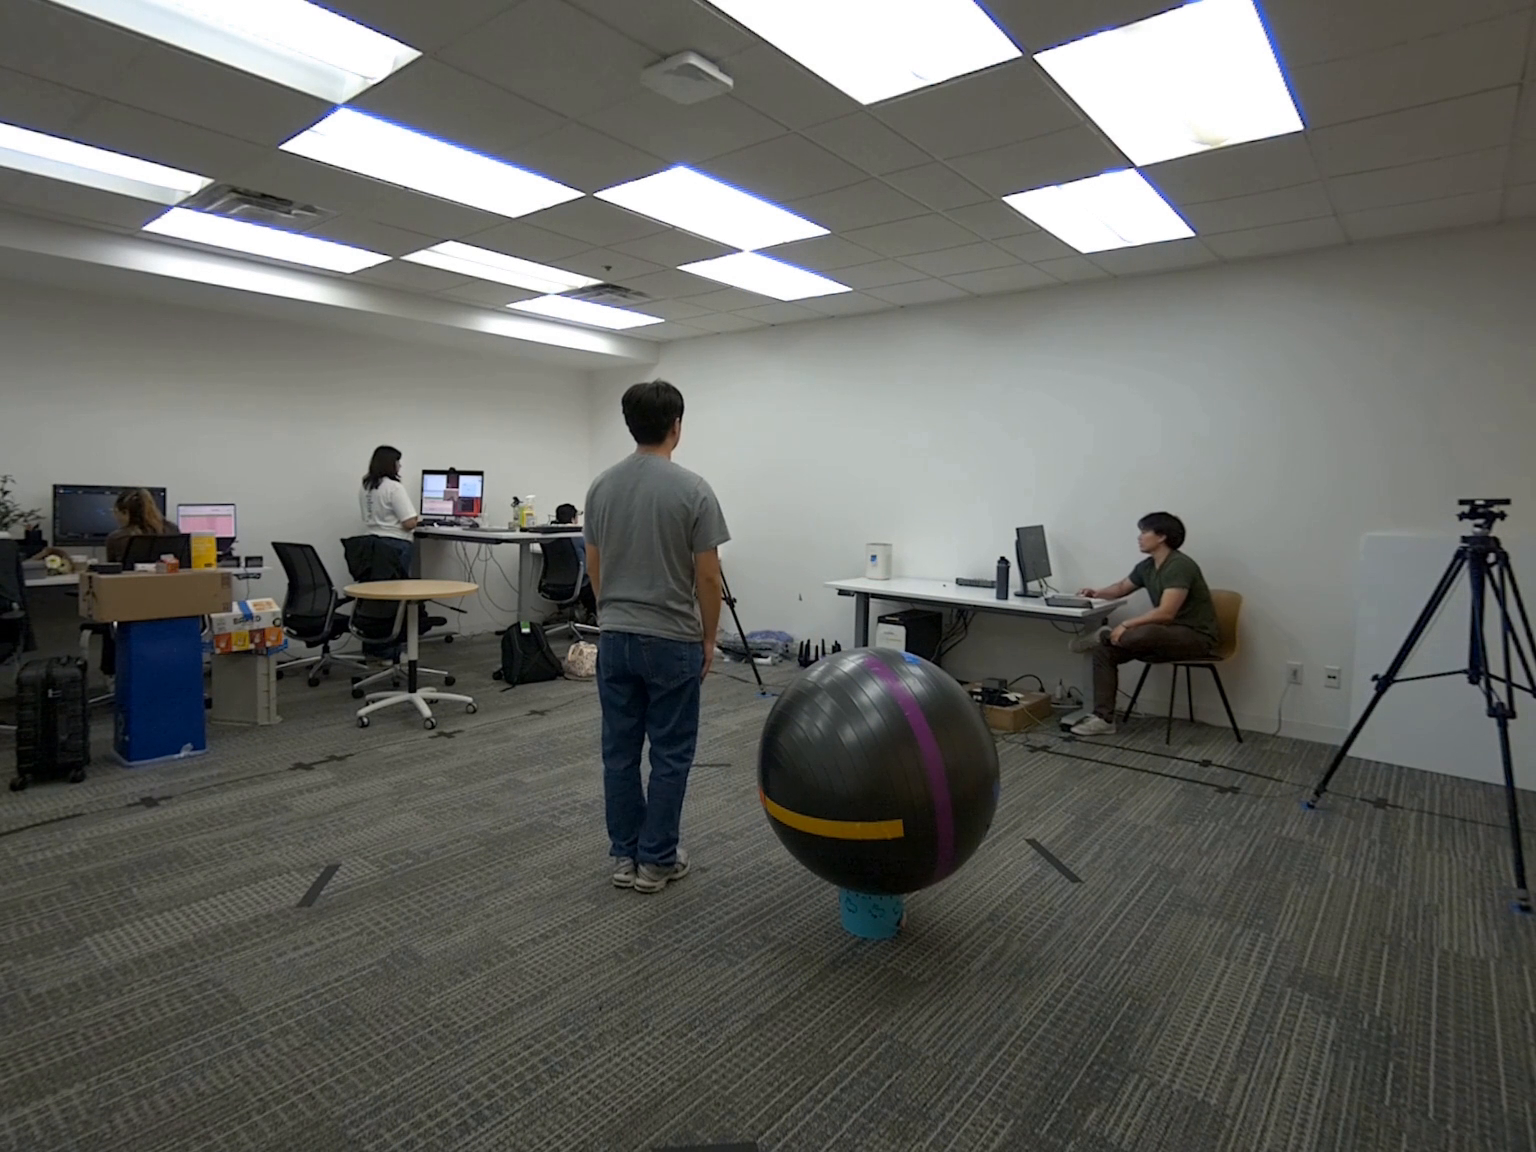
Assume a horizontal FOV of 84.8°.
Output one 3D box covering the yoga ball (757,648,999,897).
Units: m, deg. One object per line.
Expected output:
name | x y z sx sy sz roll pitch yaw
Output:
yoga ball | 0.337 0.613 2.709 0.757 0.756 0.761 1 4 -2
